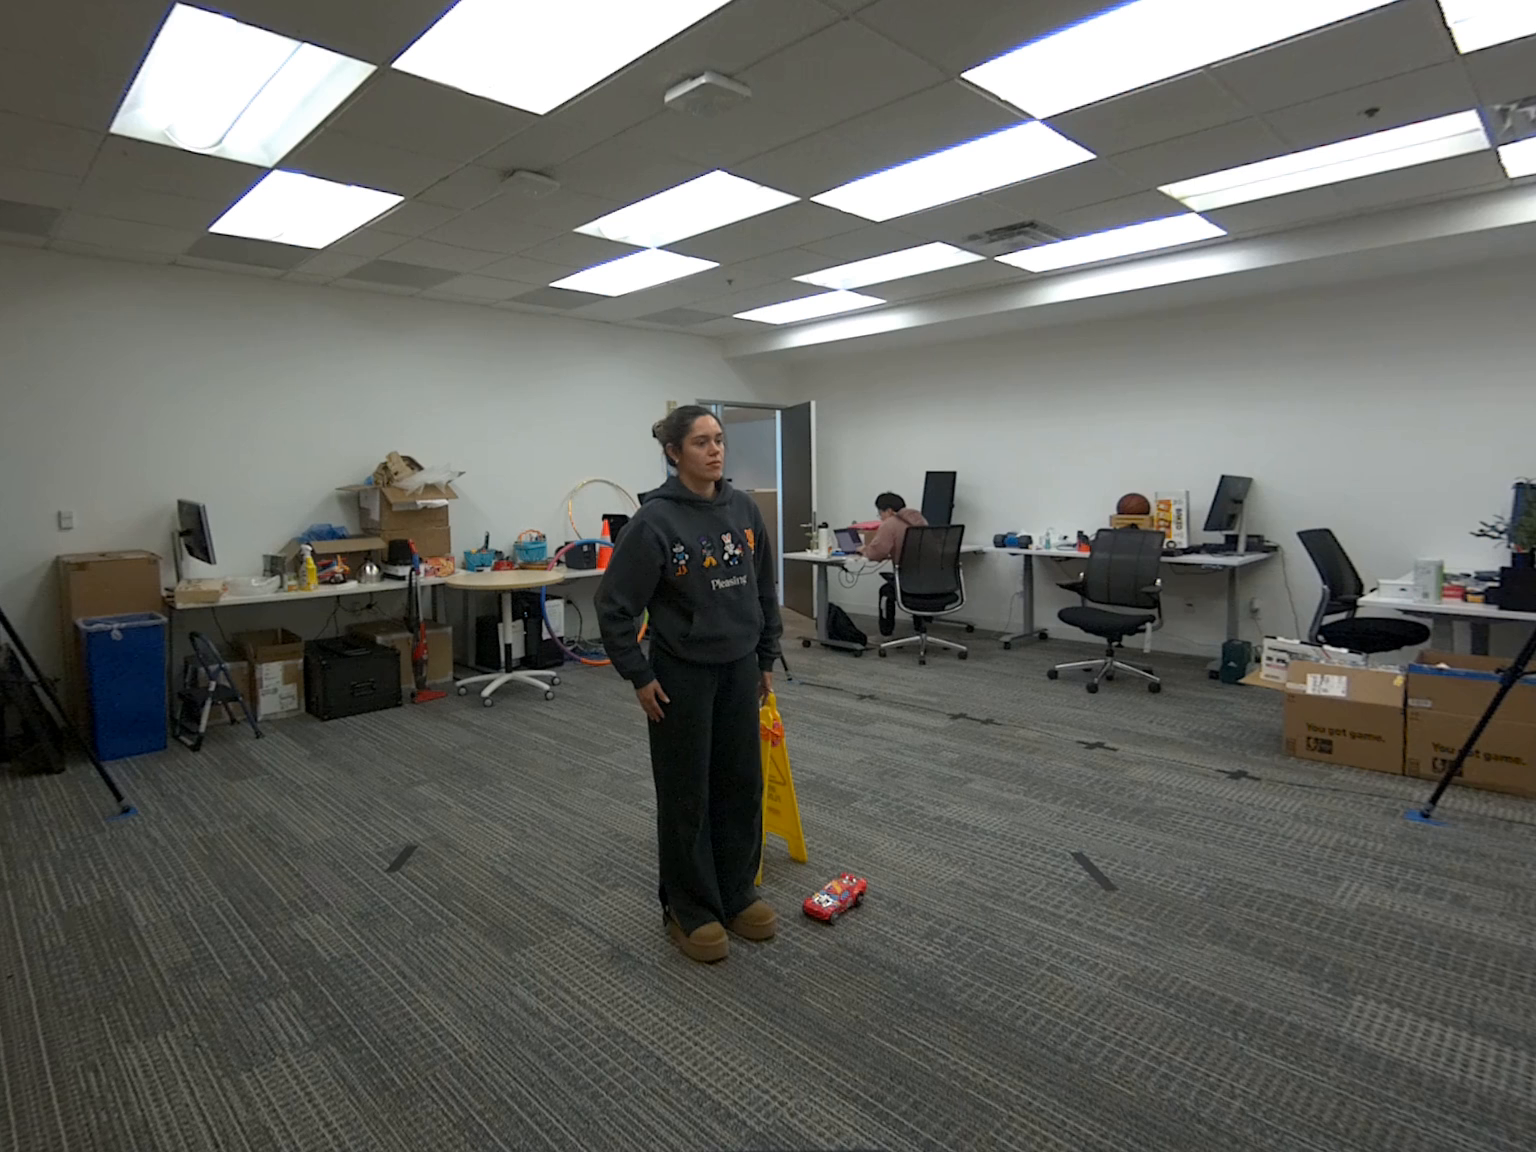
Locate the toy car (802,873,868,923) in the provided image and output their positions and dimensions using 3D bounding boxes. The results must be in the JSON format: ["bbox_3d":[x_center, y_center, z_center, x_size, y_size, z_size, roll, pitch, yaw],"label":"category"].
[{"bbox_3d":[0.229,1.045,2.763,0.134,0.082,0.250,4,19,41],"label":"toy car"}]
